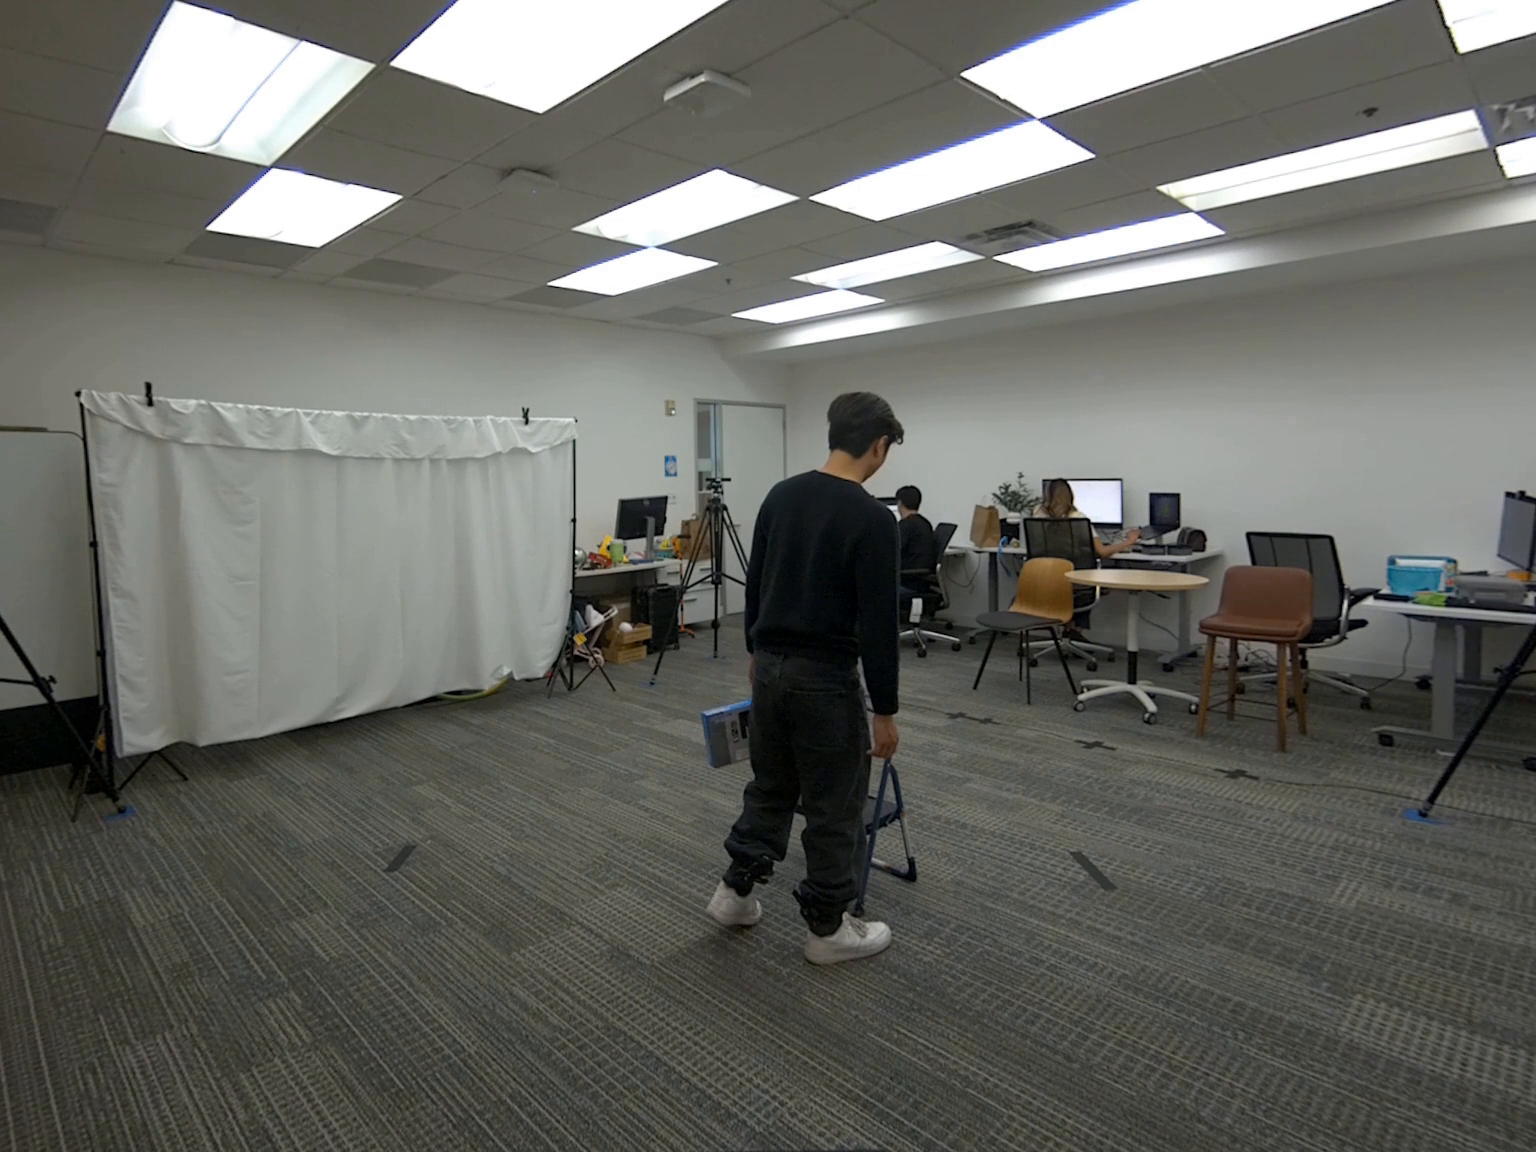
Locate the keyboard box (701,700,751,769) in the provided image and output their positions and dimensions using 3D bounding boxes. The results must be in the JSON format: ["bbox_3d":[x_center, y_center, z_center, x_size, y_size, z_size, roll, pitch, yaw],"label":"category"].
[{"bbox_3d":[0.012,0.477,2.745,0.430,0.175,0.060,-11,5,-19],"label":"keyboard box"}]
